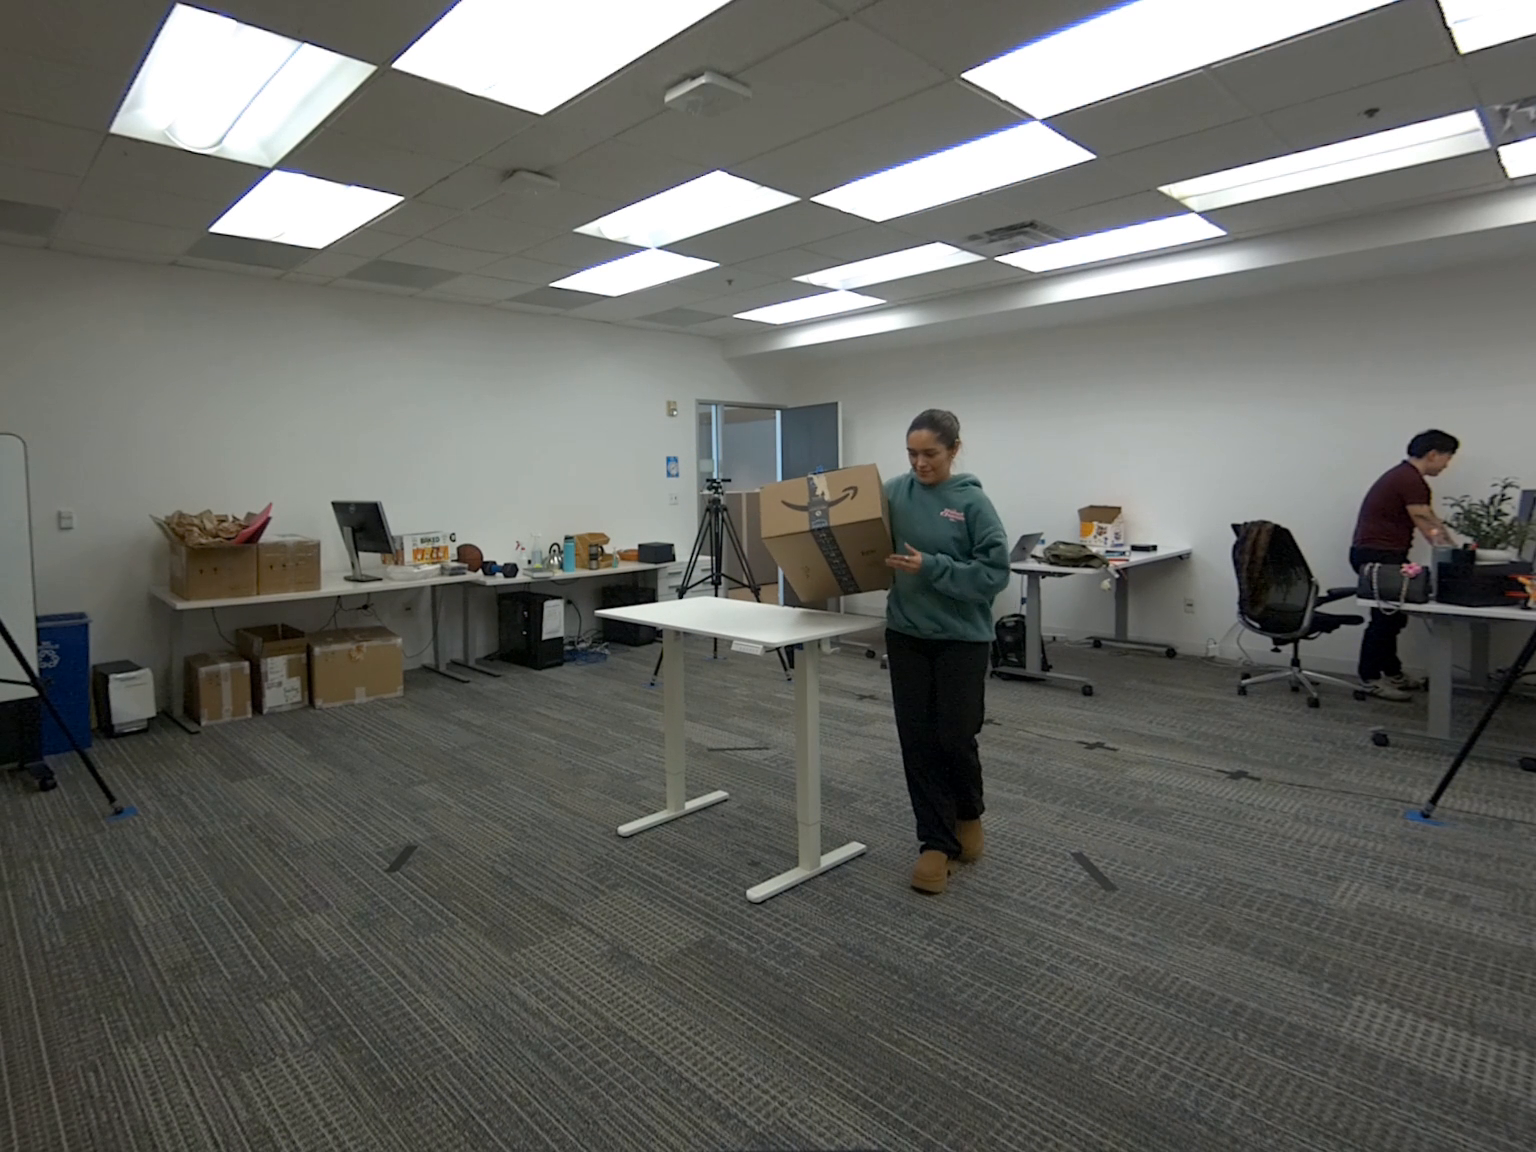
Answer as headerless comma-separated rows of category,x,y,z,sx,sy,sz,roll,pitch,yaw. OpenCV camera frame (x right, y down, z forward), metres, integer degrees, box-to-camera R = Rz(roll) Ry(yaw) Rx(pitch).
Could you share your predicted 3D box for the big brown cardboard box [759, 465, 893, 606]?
big brown cardboard box,0.256,-0.136,3.129,0.423,0.238,0.568,-9,-27,15
